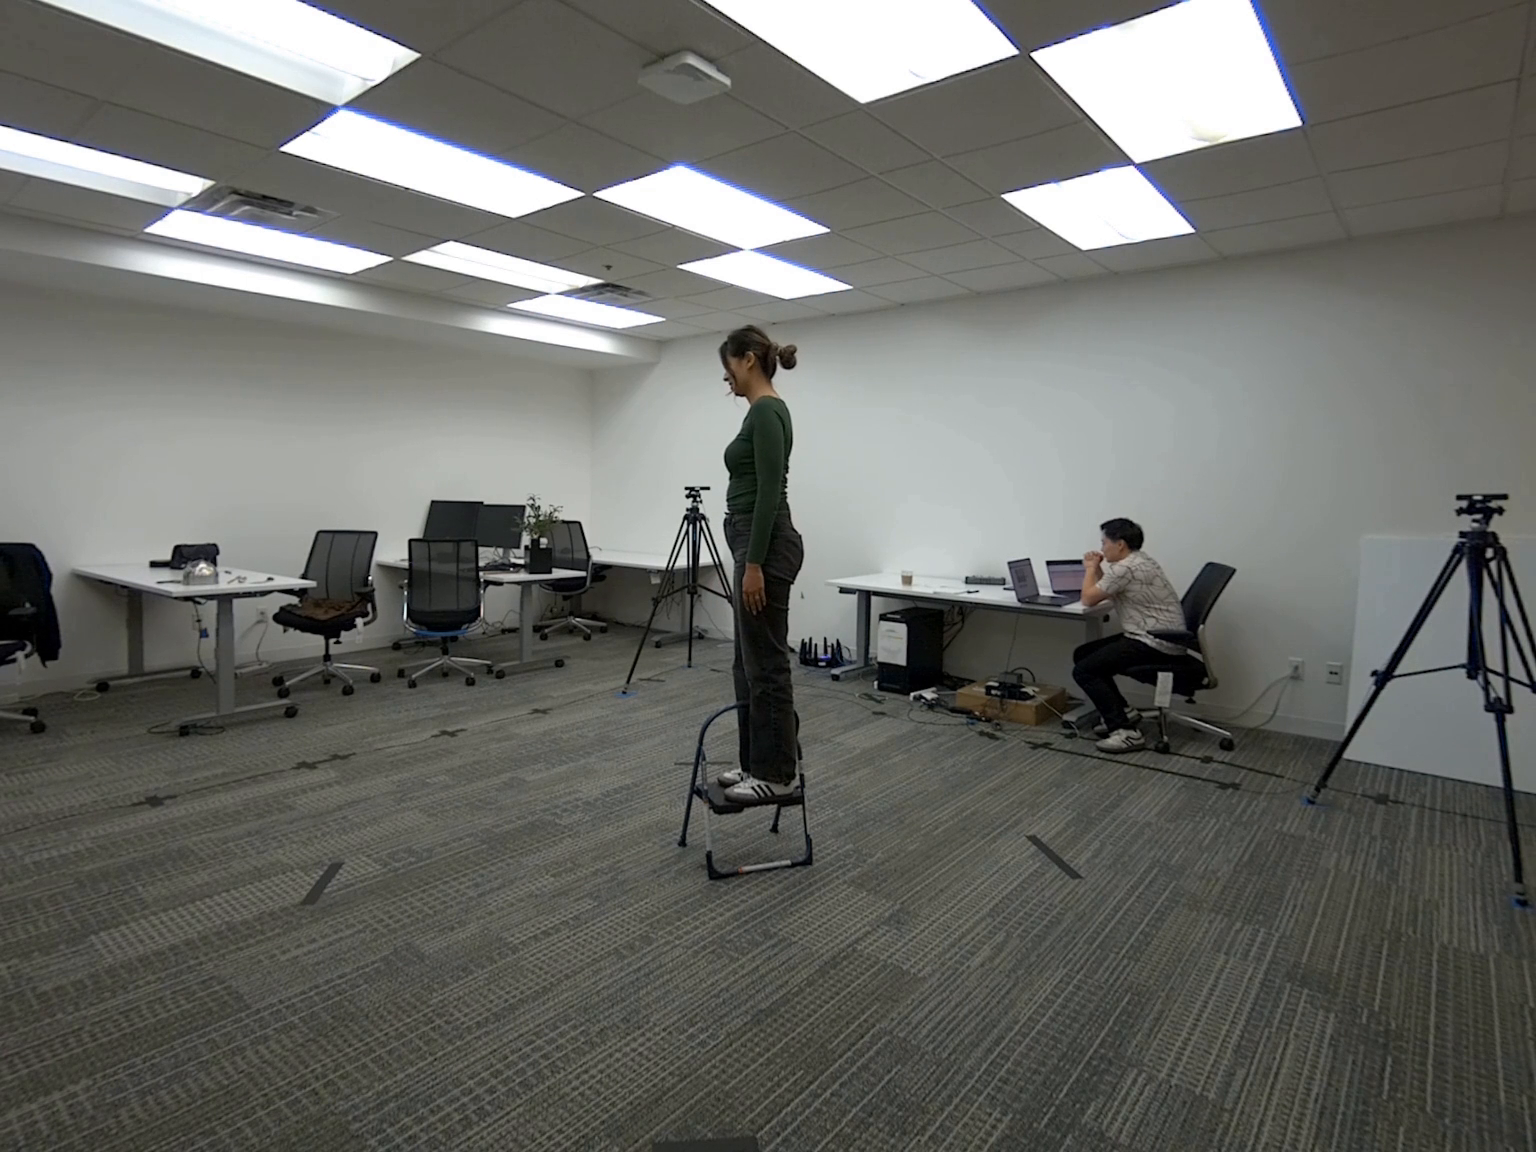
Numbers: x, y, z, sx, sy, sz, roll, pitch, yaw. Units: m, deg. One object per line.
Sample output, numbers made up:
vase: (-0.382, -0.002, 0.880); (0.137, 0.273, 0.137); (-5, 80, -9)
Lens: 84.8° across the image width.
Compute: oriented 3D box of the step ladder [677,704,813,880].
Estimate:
step ladder: (-0.098, 0.755, 3.223); (0.421, 0.604, 0.358); (-1, 4, -23)
